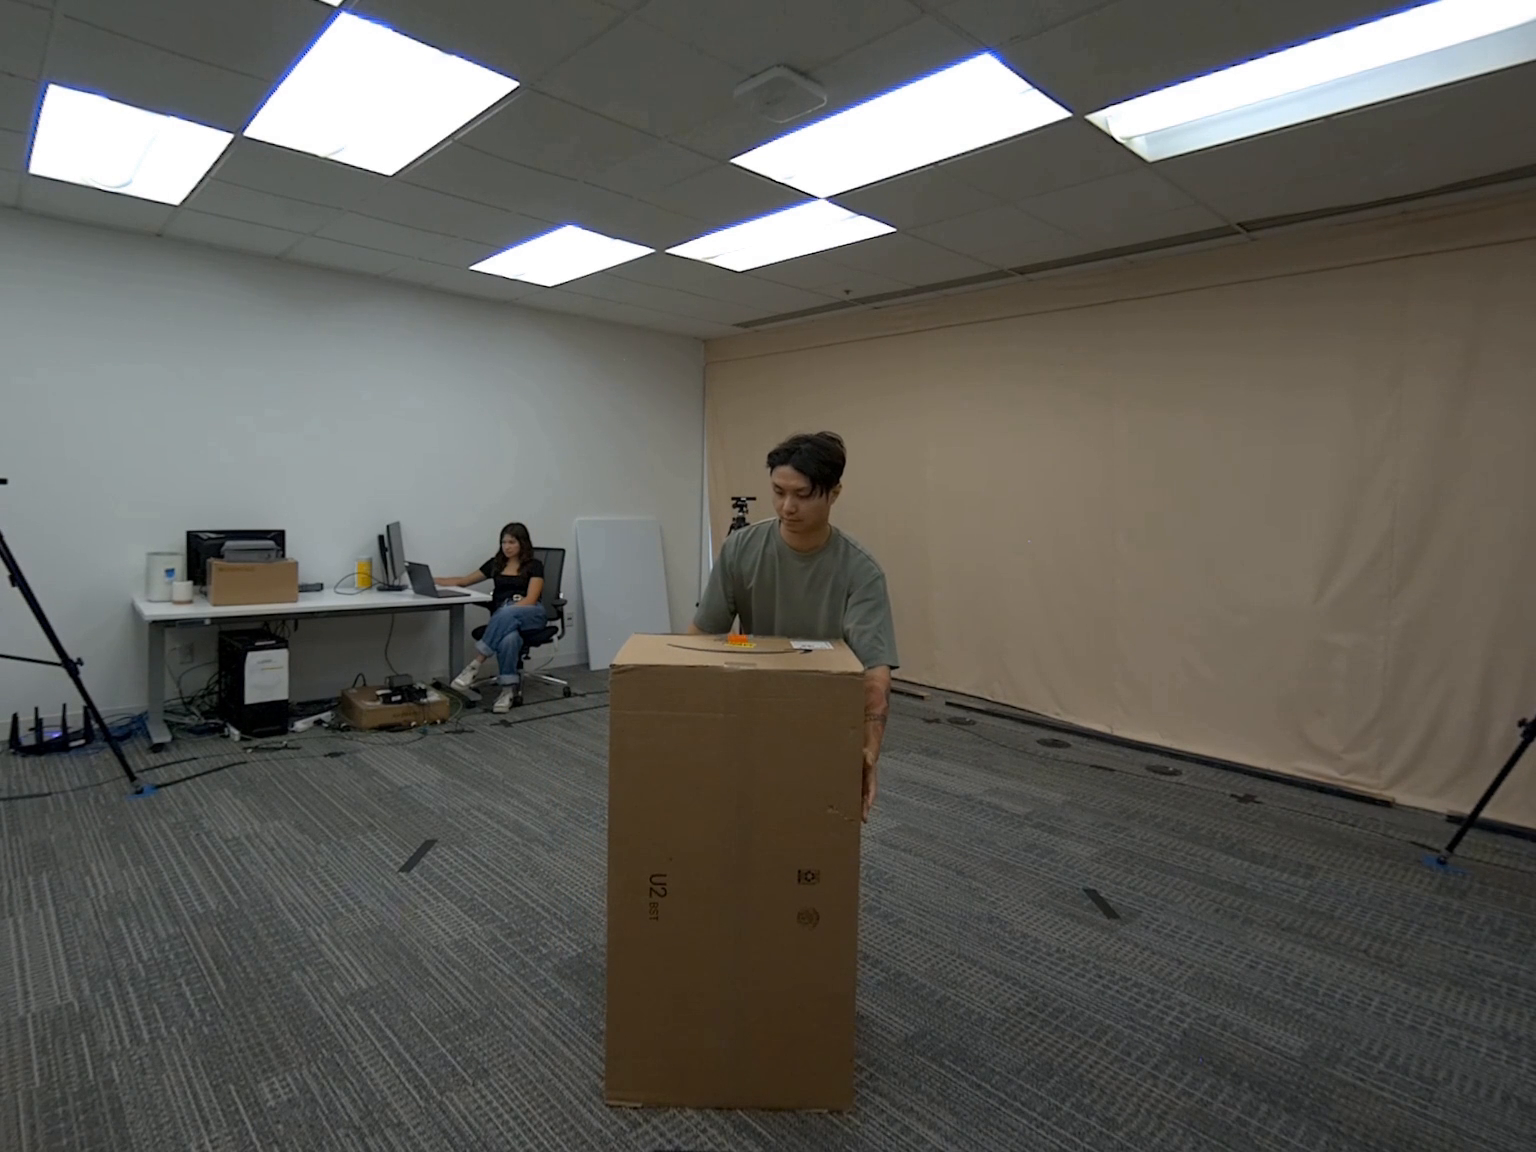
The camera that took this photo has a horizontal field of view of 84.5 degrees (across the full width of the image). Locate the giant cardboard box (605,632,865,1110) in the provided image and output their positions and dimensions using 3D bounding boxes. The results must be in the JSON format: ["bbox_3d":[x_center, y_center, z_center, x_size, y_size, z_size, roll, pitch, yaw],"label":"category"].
[{"bbox_3d":[-0.093,0.696,2.102,0.577,1.023,0.427,1,3,-1],"label":"giant cardboard box"}]
